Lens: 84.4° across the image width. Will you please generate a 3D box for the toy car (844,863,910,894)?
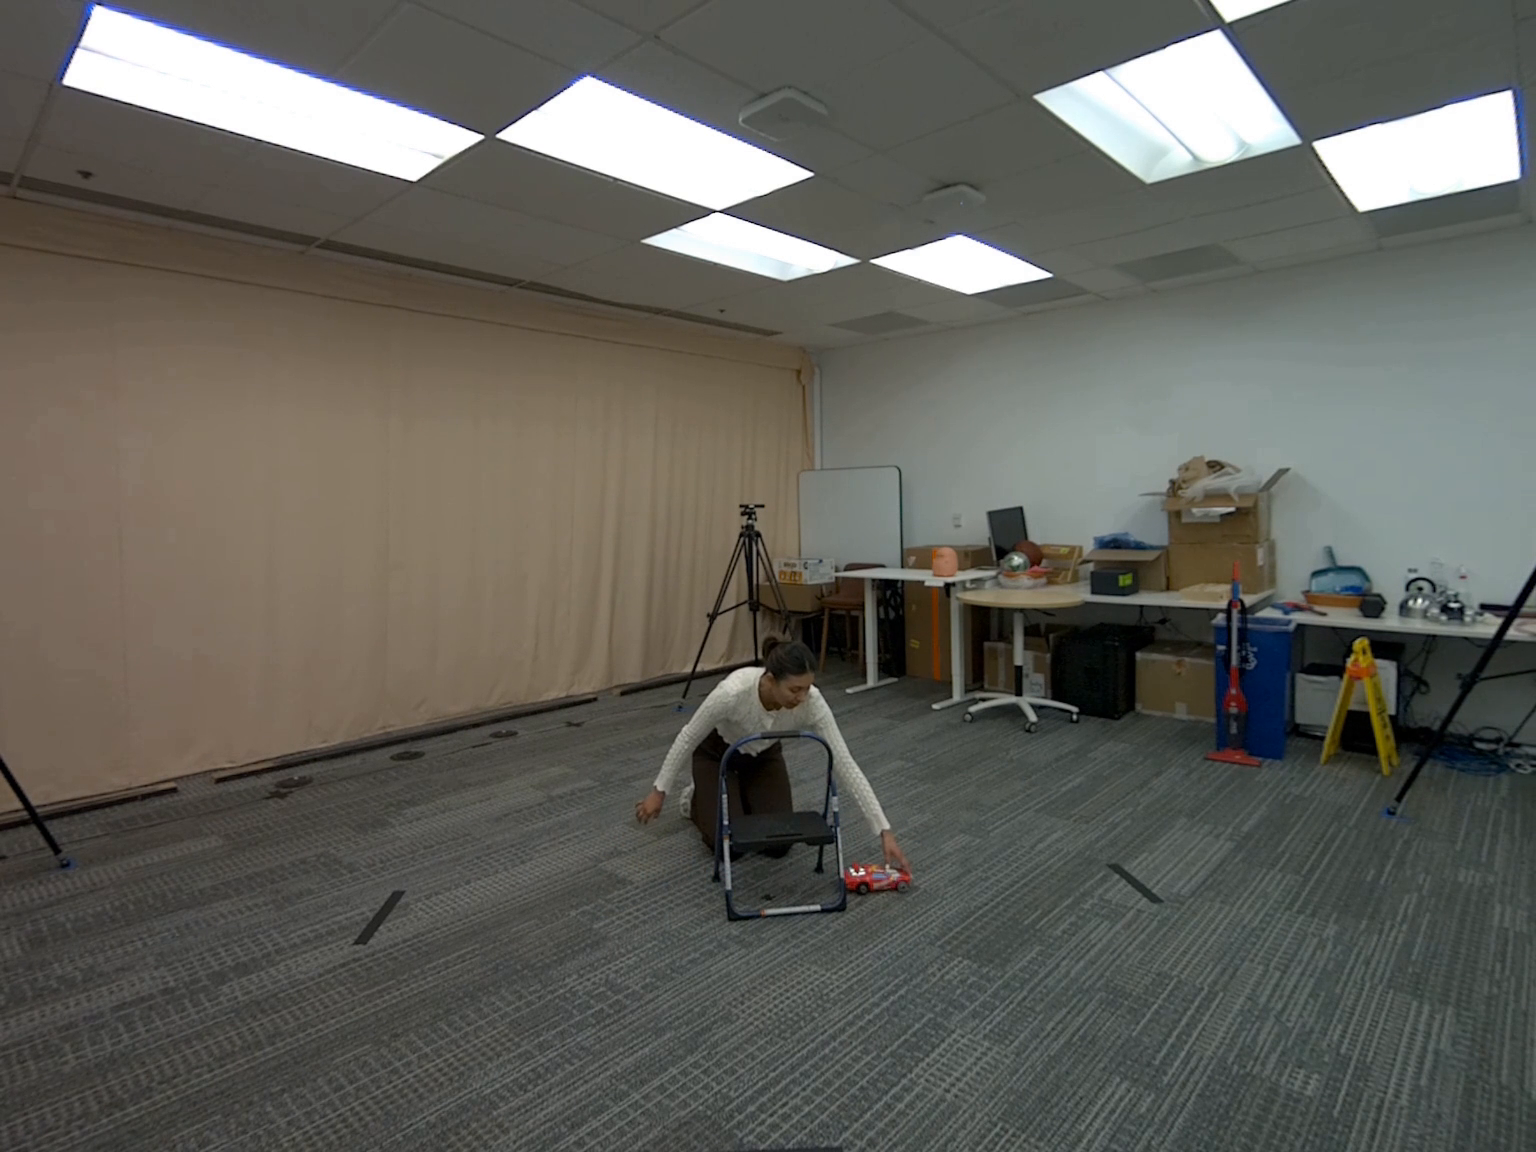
[{"bbox_3d":[0.381,1.096,3.040,0.253,0.083,0.131,10,3,-5],"label":"toy car"}]
